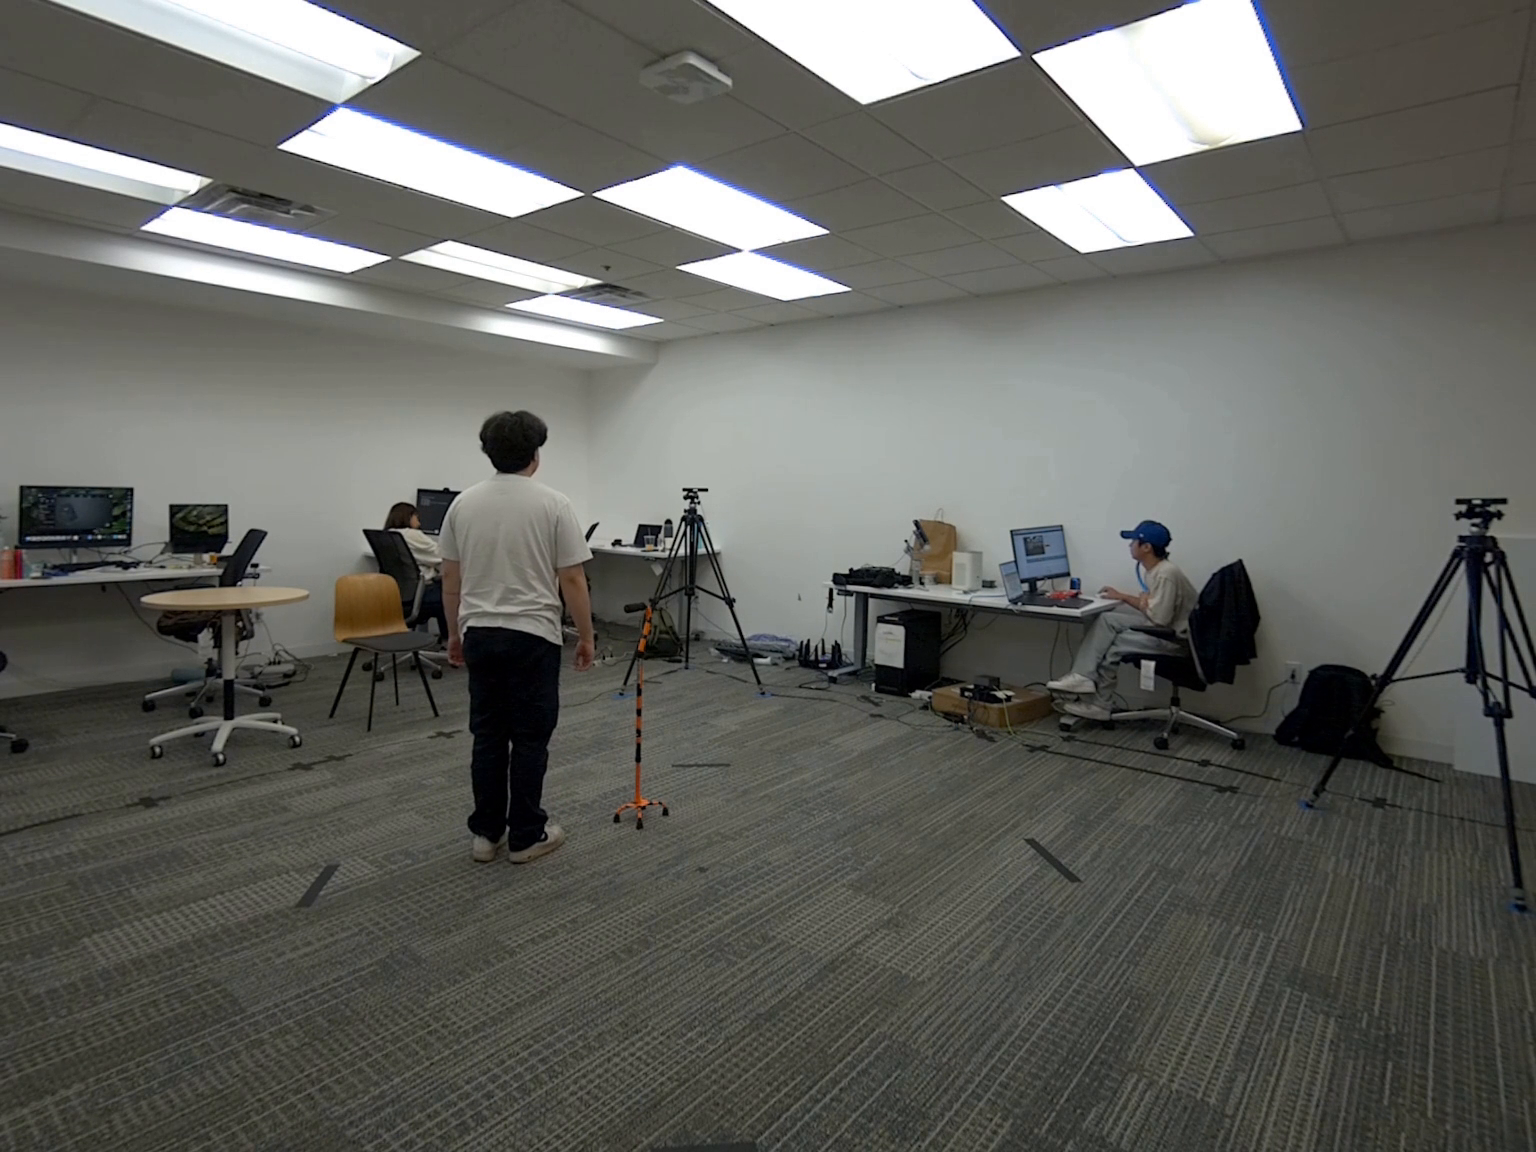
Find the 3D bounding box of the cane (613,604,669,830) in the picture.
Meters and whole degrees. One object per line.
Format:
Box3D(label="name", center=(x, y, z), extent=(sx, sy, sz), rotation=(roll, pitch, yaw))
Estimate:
Box3D(label="cane", center=(-0.539, 0.567, 3.564), extent=(0.156, 0.906, 0.201), rotation=(2, 3, 33))
